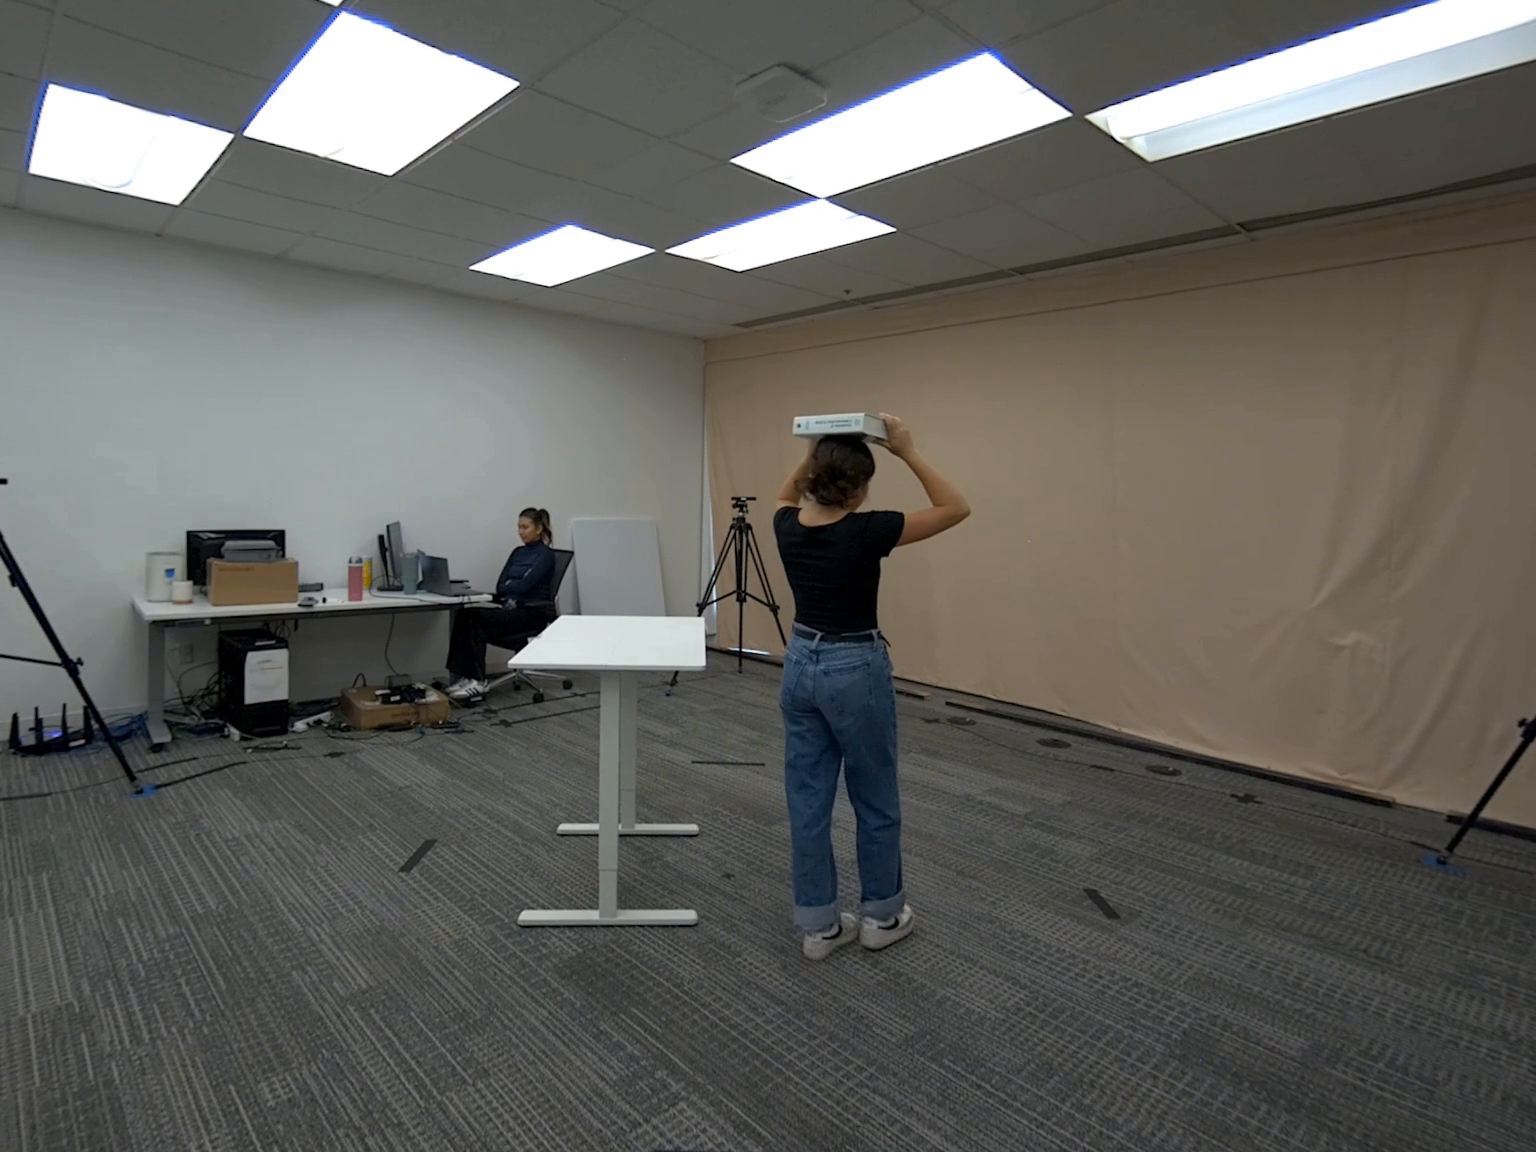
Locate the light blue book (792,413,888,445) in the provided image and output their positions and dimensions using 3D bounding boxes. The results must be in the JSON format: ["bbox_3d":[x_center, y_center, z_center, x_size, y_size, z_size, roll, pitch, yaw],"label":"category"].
[{"bbox_3d":[0.226,-0.447,2.556,0.267,0.059,0.187,6,3,39],"label":"light blue book"}]
